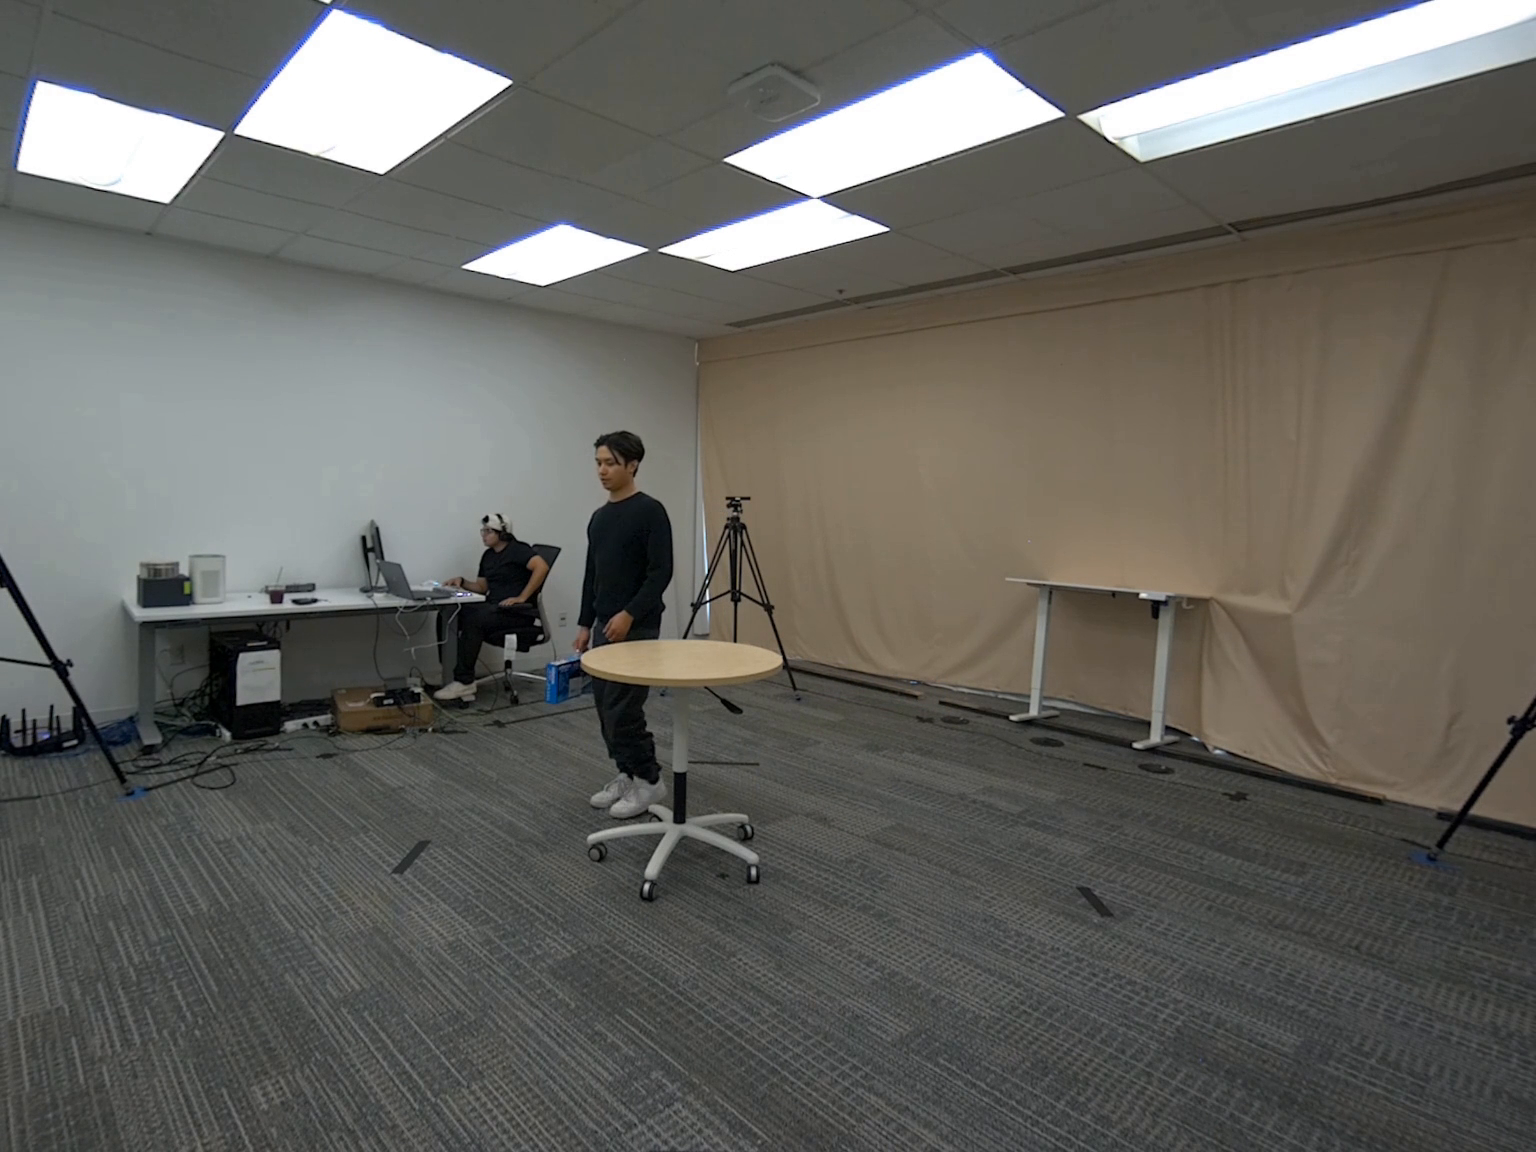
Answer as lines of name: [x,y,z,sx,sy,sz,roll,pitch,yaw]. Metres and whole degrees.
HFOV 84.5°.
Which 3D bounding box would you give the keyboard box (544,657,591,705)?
keyboard box: [-0.858,0.449,3.849,0.060,0.175,0.430,4,4,21]
